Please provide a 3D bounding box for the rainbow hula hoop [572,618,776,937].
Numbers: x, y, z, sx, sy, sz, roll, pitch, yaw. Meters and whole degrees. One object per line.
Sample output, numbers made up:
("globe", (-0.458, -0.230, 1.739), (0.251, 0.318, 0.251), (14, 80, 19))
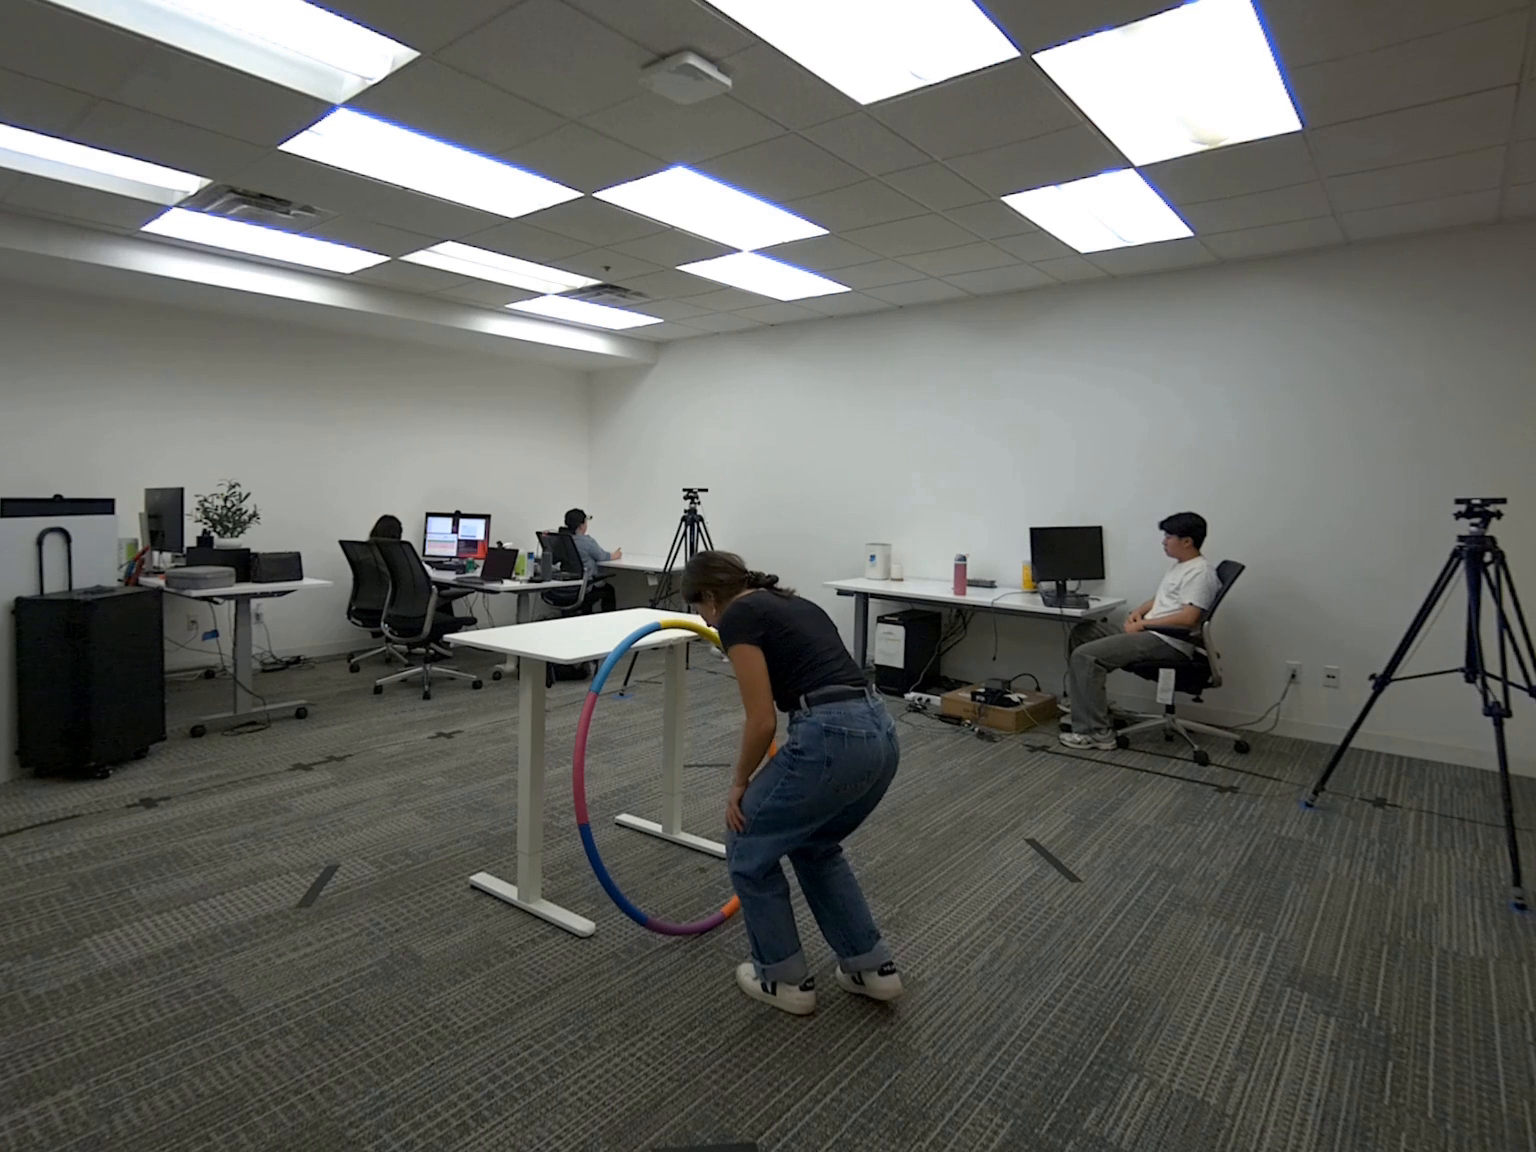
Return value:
("rainbow hula hoop", (-0.248, 0.622, 2.755), (0.036, 0.985, 0.951), (-15, -6, 35))
